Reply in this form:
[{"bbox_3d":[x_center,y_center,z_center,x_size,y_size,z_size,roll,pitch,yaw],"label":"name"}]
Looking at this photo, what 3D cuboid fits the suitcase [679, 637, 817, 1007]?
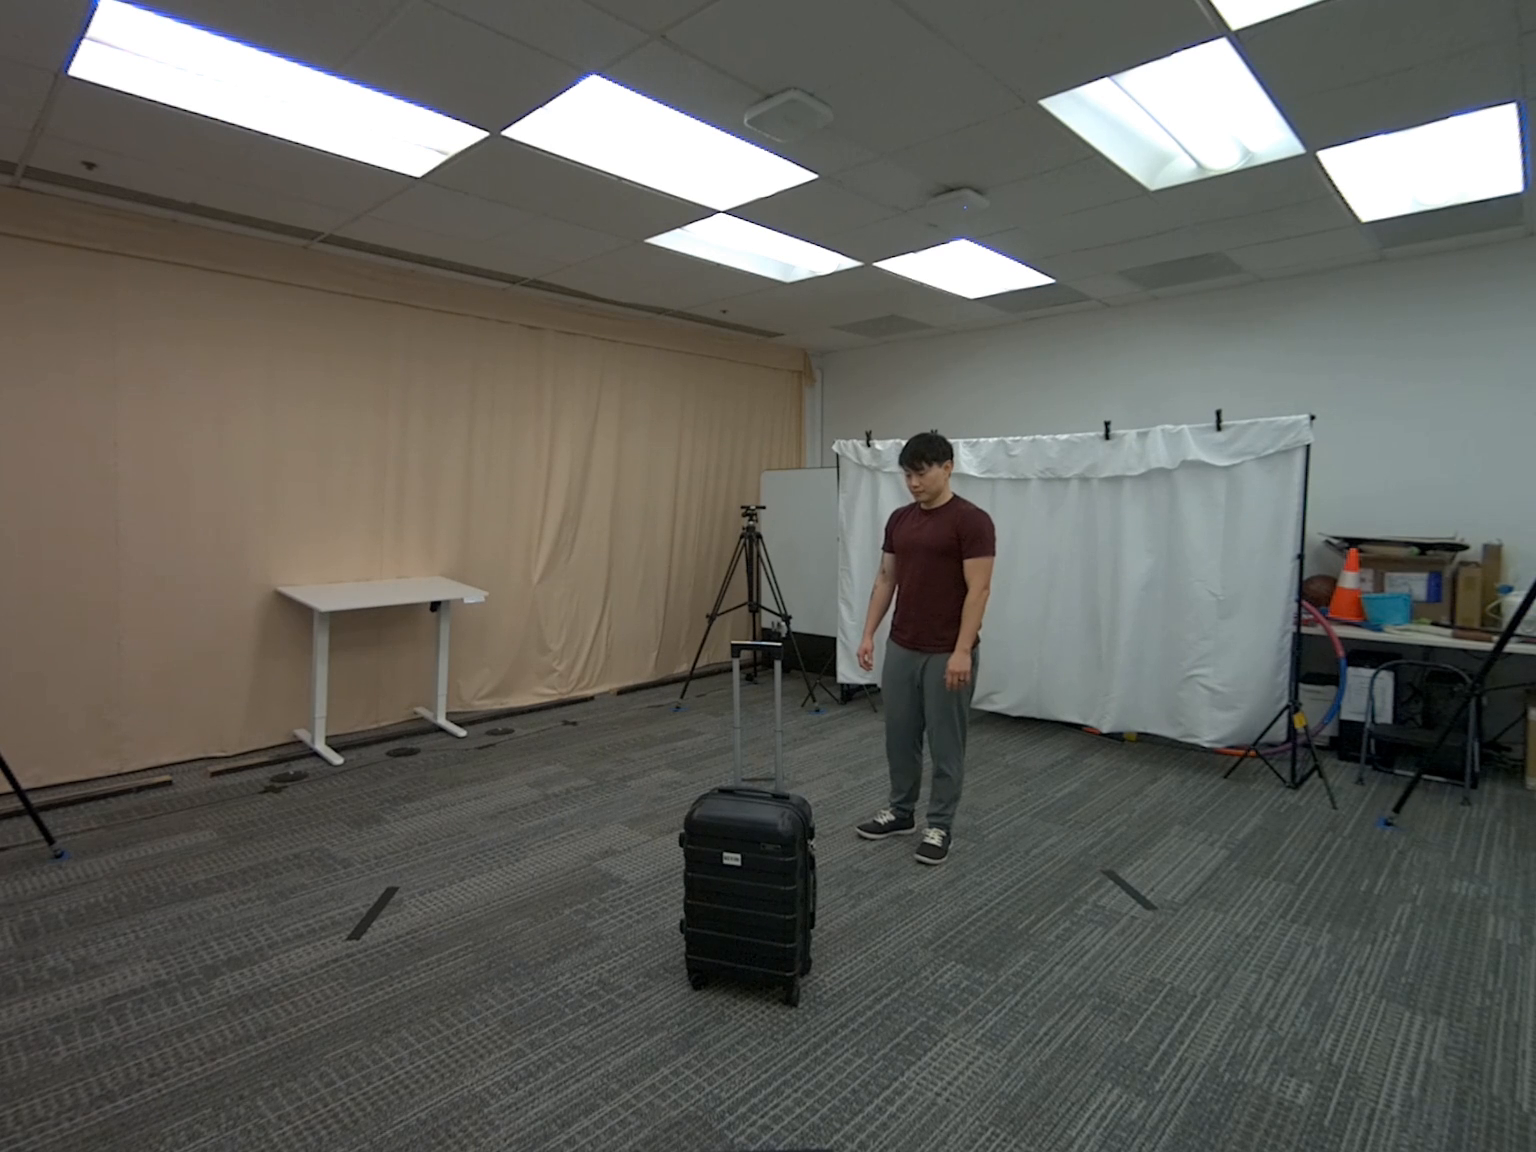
[{"bbox_3d":[-0.052,0.712,2.444,0.391,0.975,0.253,1,6,16],"label":"suitcase"}]
